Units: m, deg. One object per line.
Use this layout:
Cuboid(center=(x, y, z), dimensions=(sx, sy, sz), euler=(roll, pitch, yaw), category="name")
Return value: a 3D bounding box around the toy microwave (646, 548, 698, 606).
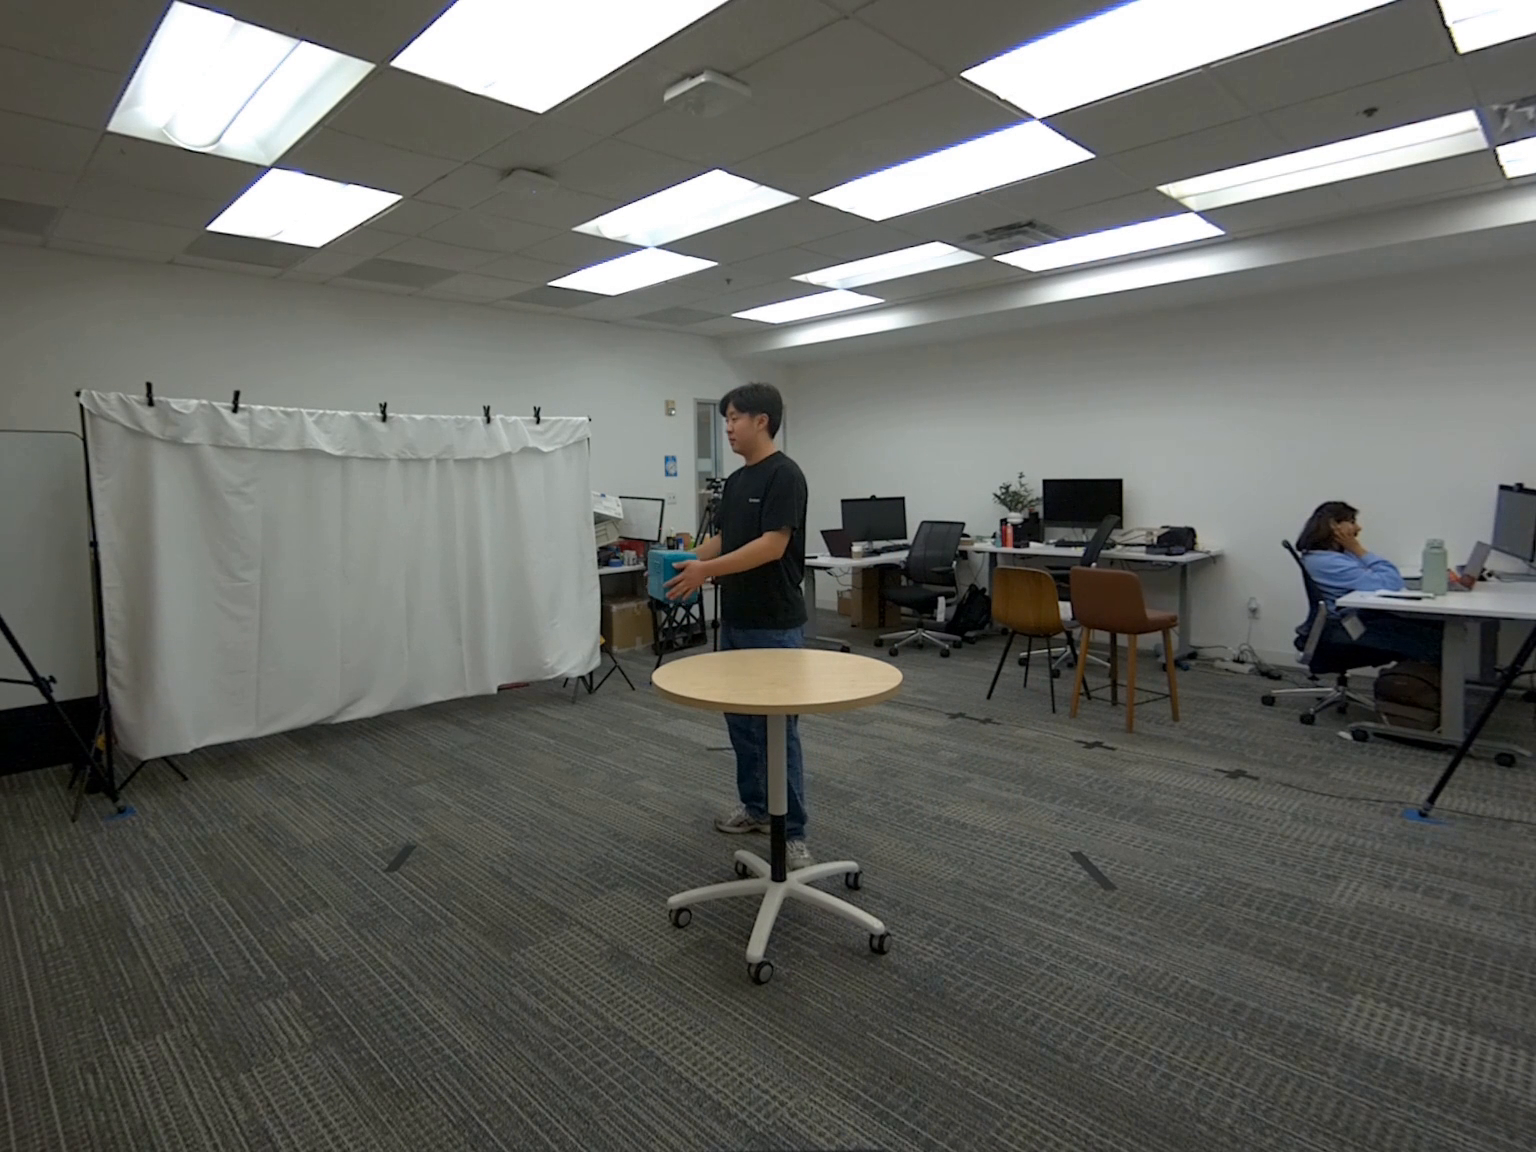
Cuboid(center=(-0.348, -0.002, 3.193), dimensions=(0.150, 0.184, 0.291), euler=(0, 3, -18), category="toy microwave")
